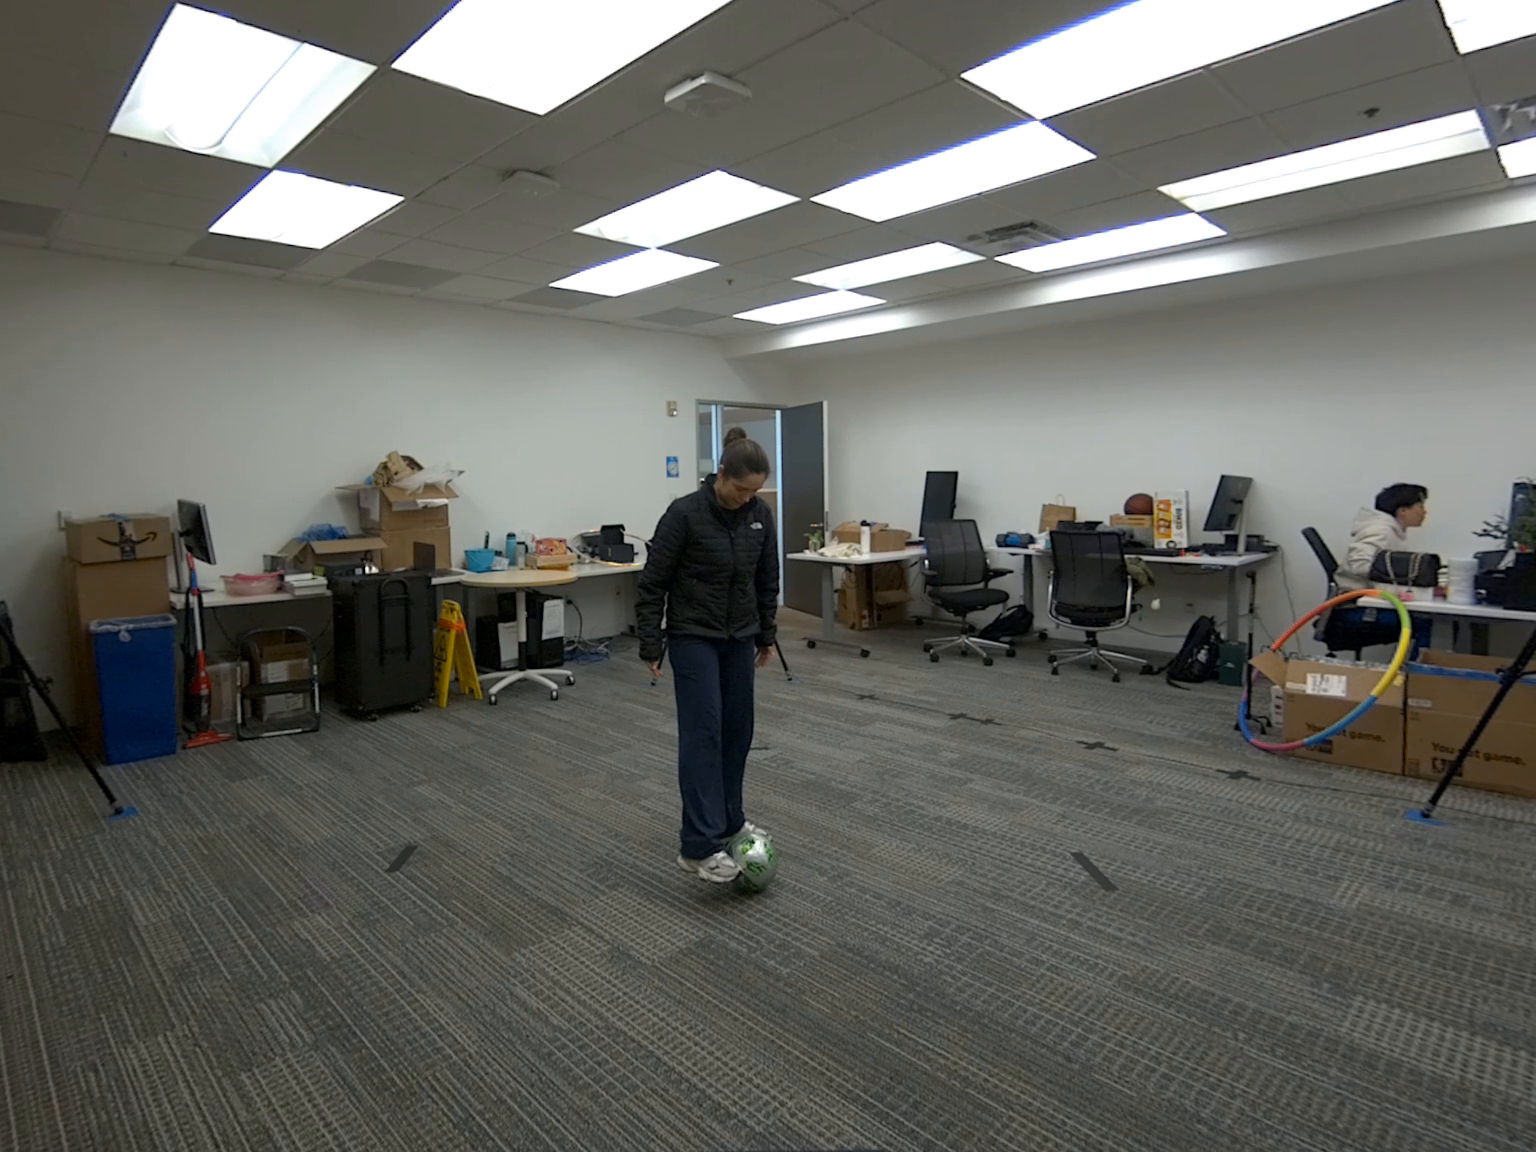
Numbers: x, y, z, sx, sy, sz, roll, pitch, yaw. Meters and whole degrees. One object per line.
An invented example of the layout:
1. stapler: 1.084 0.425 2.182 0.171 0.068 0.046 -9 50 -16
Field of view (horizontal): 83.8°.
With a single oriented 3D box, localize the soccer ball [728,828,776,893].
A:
1. soccer ball: -0.061 0.963 2.921 0.187 0.187 0.188 -1 5 -2
